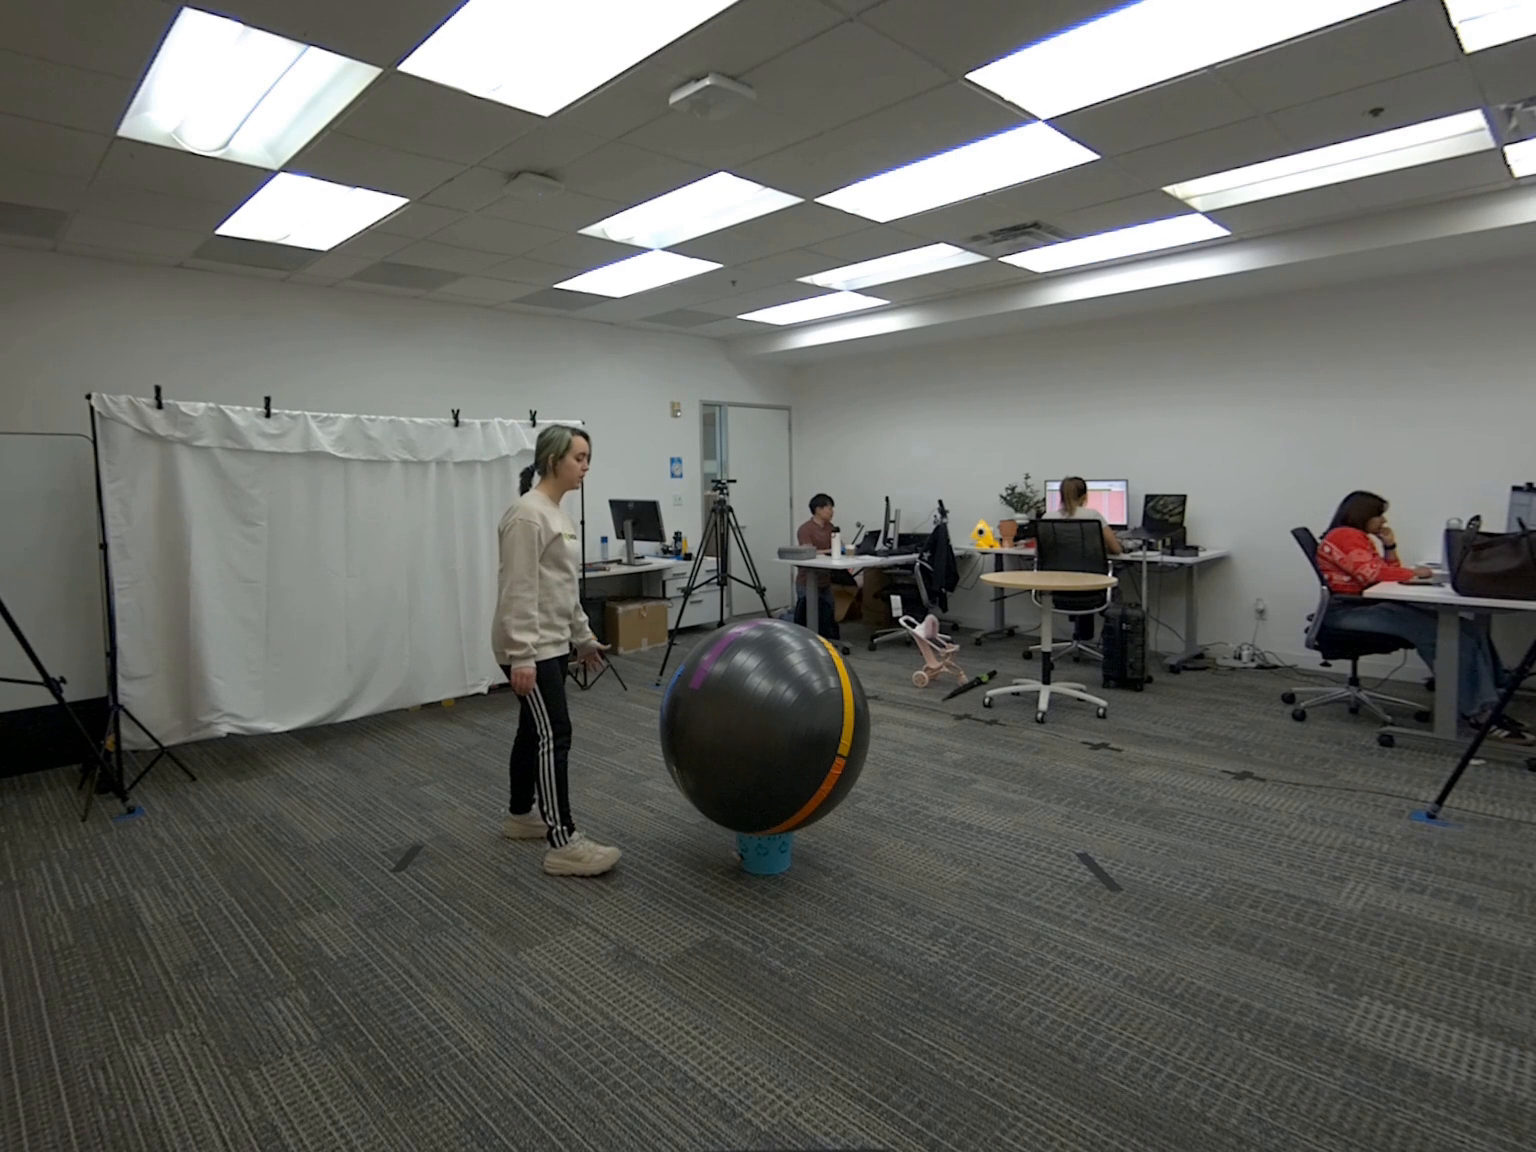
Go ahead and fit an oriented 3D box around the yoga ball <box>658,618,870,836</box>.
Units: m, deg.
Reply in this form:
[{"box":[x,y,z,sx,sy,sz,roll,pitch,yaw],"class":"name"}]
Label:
[{"box":[-0.013,0.534,3.079,0.757,0.755,0.762,-1,5,-2],"class":"yoga ball"}]
